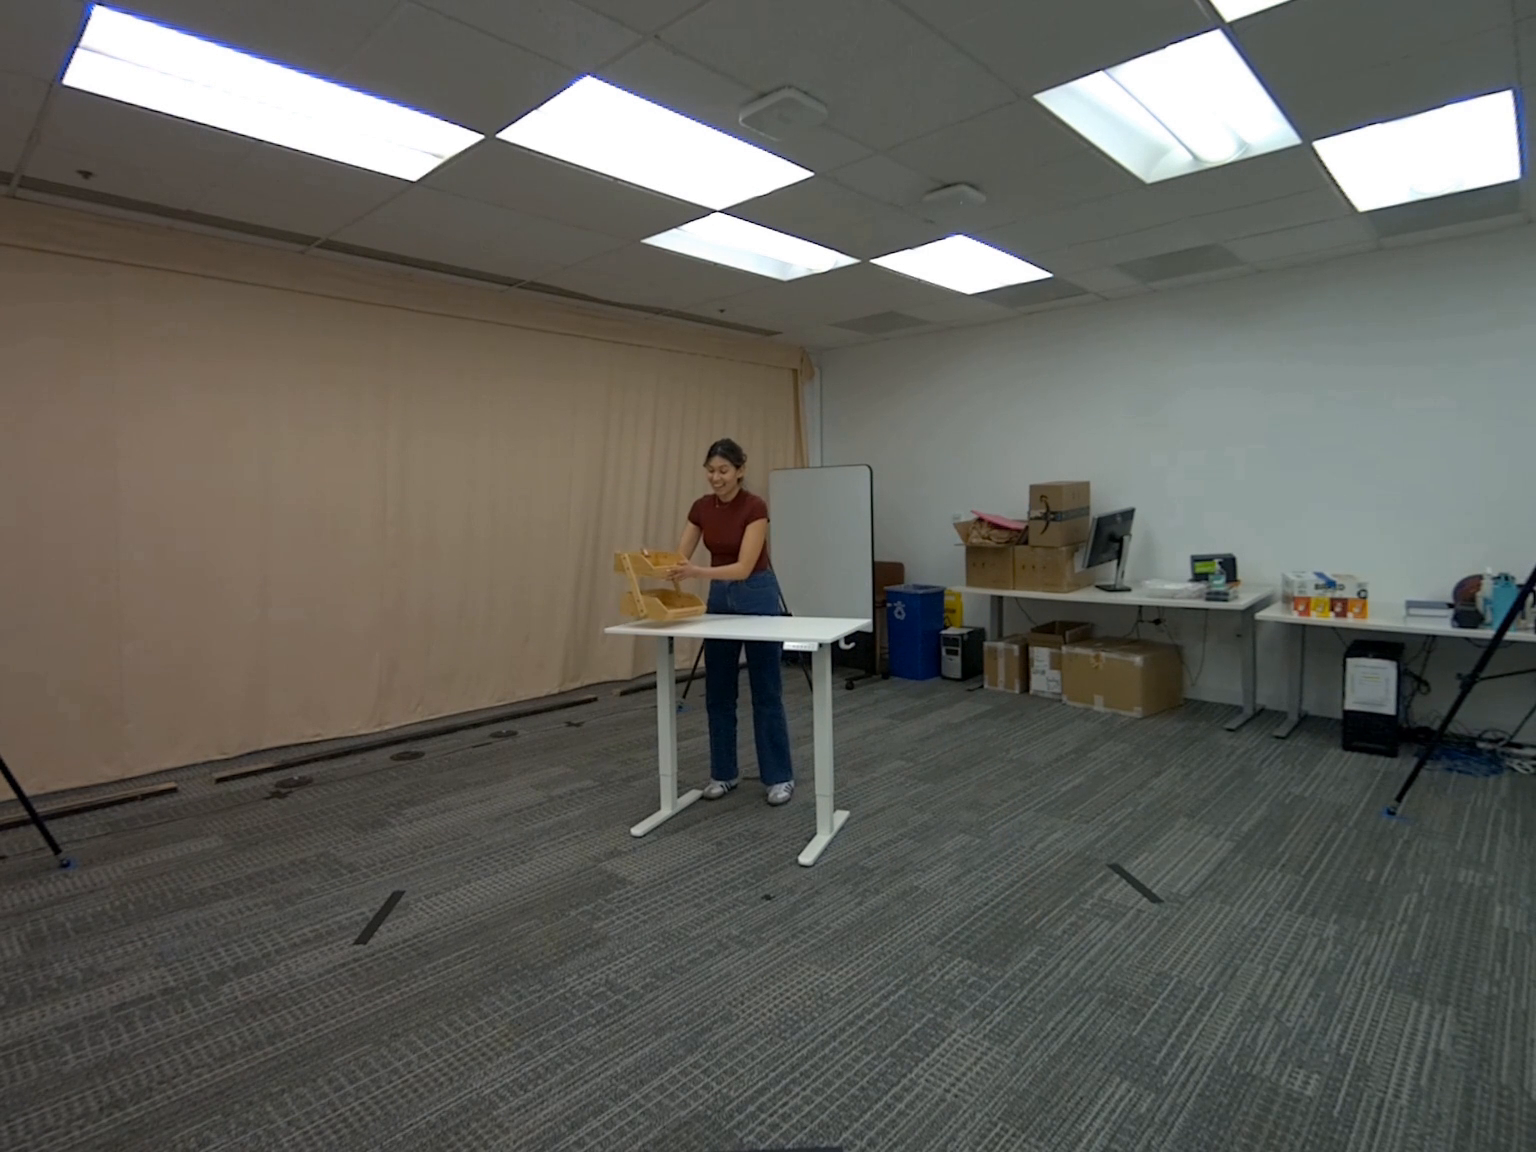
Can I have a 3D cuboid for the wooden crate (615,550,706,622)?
[{"bbox_3d":[-0.458,0.036,3.673,0.311,0.272,0.315,8,6,29],"label":"wooden crate"}]
